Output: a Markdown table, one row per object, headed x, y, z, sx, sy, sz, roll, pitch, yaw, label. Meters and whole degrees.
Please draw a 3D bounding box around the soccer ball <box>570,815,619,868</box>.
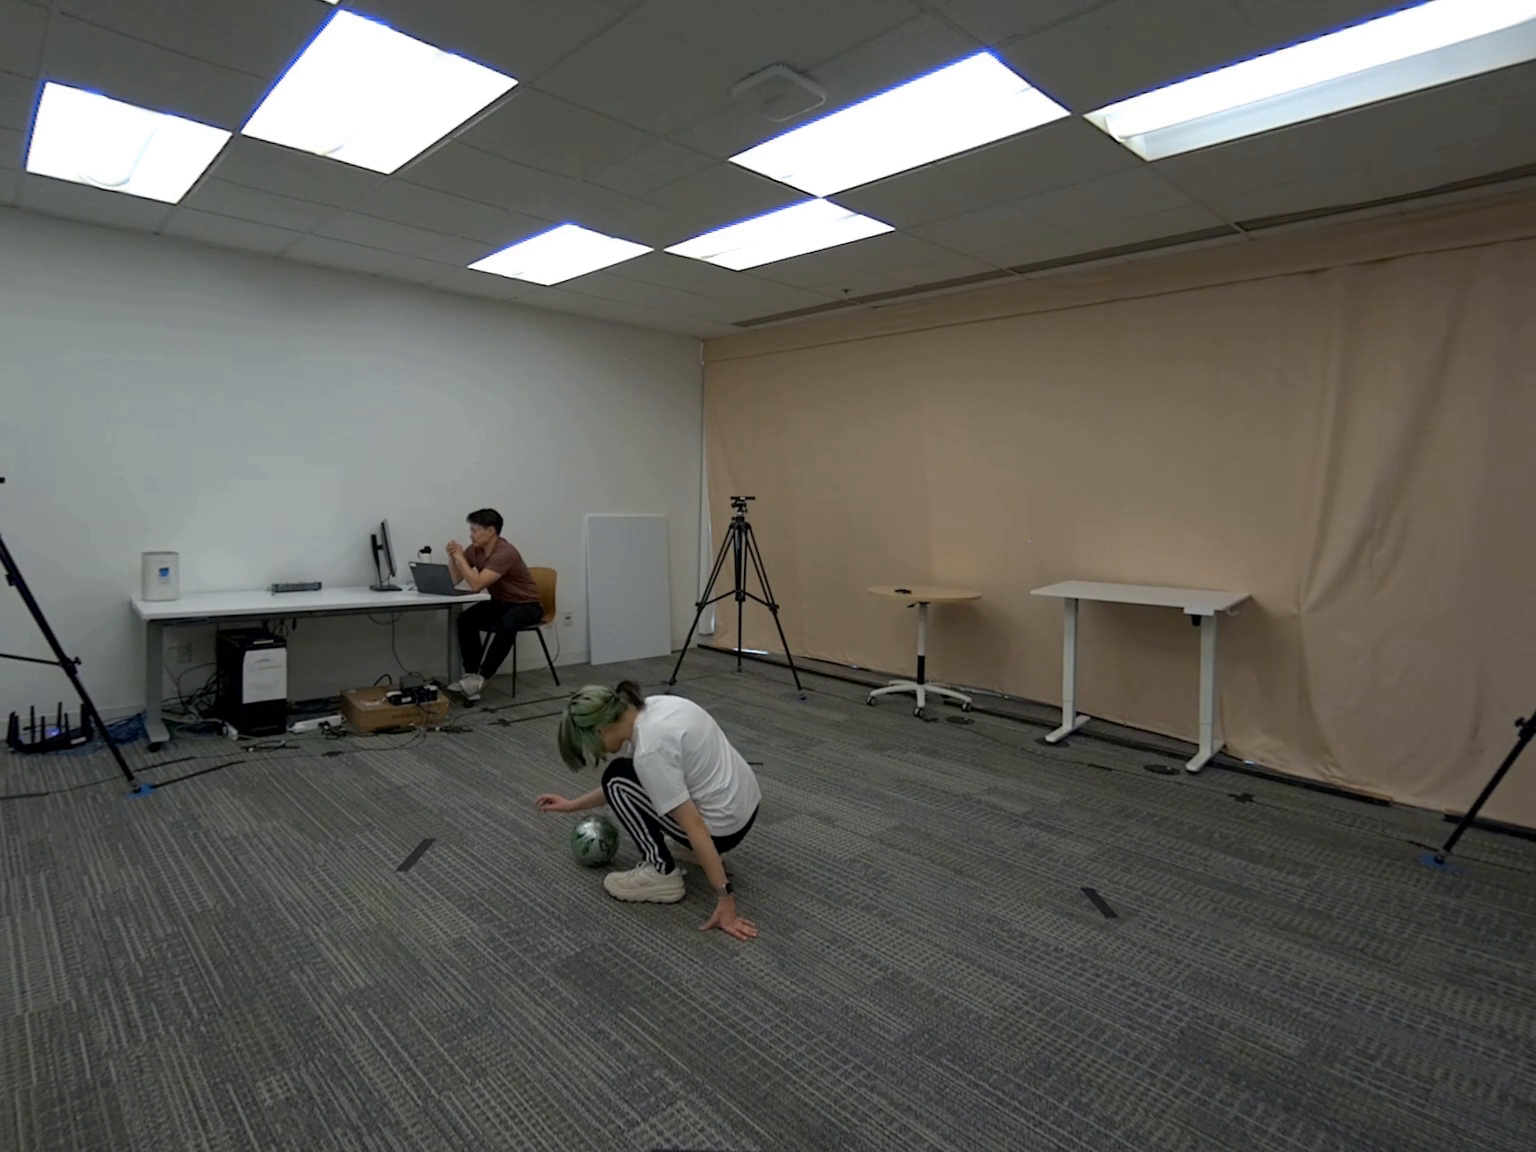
| x | y | z | sx | sy | sz | roll | pitch | yaw | label |
| --- | --- | --- | --- | --- | --- | --- | --- | --- | --- |
| -0.650 | 0.993 | 3.169 | 0.187 | 0.187 | 0.188 | 1 | 4 | -1 | soccer ball |
